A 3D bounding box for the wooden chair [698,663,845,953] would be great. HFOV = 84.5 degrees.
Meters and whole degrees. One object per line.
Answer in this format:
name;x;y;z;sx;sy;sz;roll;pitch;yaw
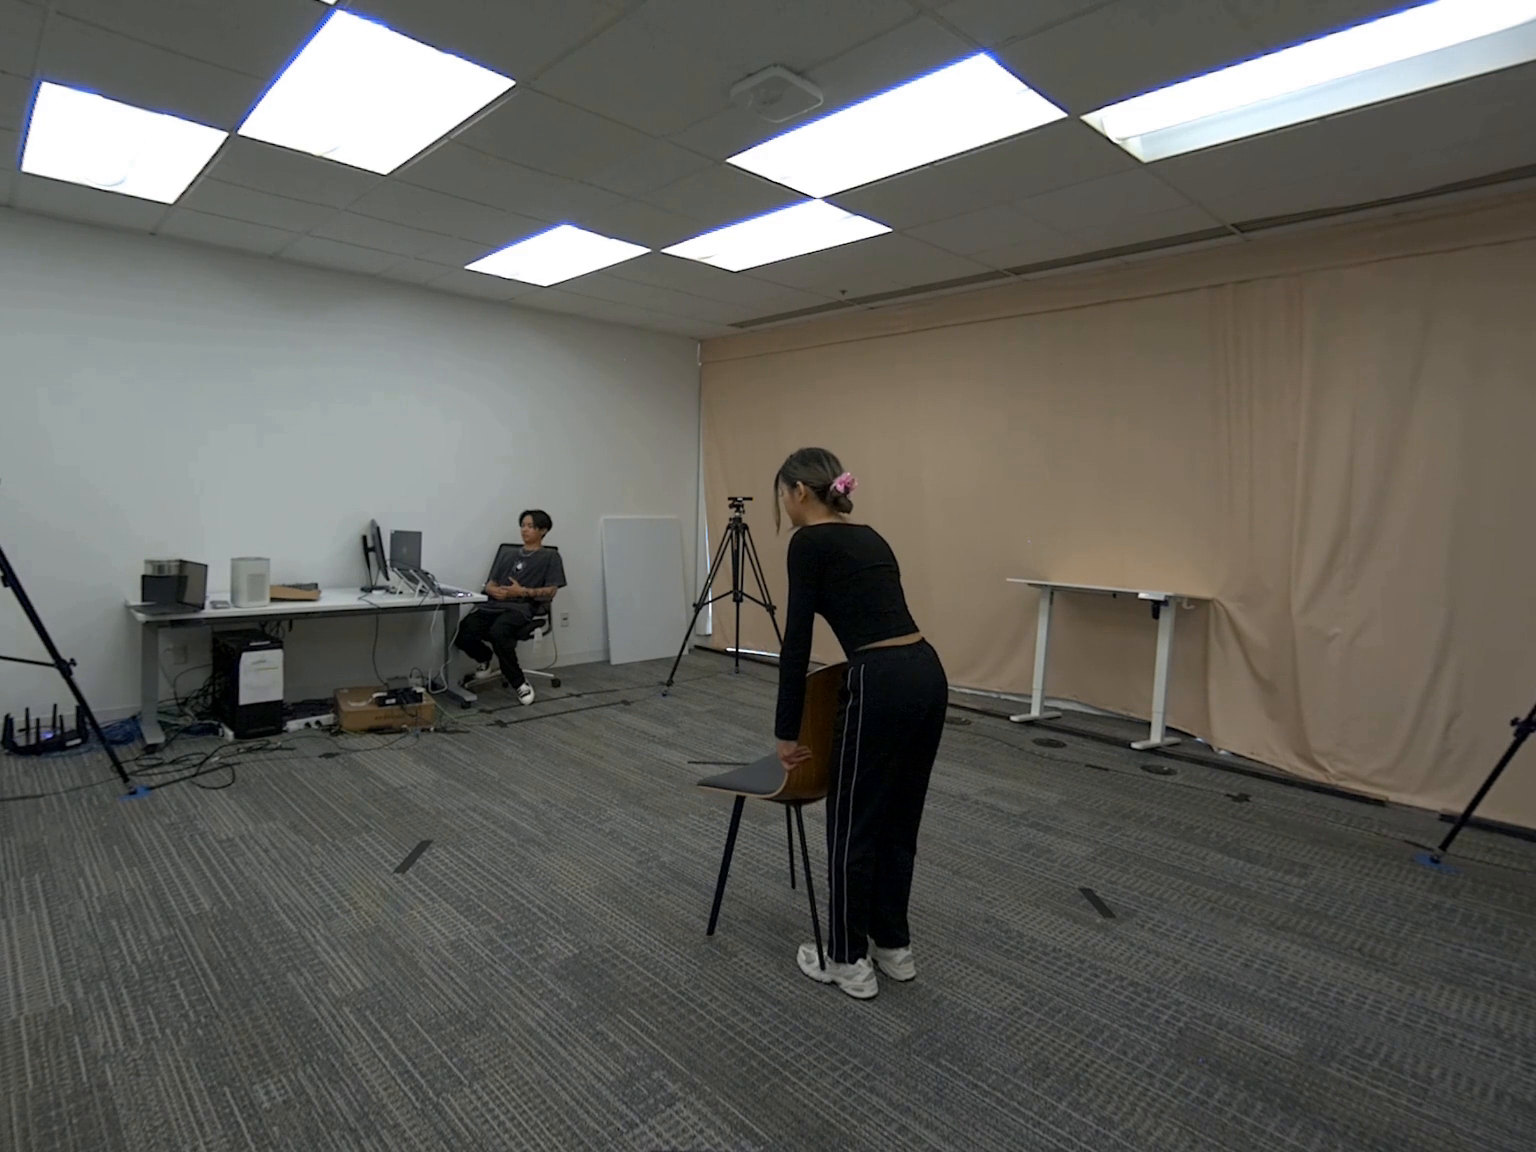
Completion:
wooden chair;0.066;0.683;2.694;0.535;0.876;0.468;0;3;40
